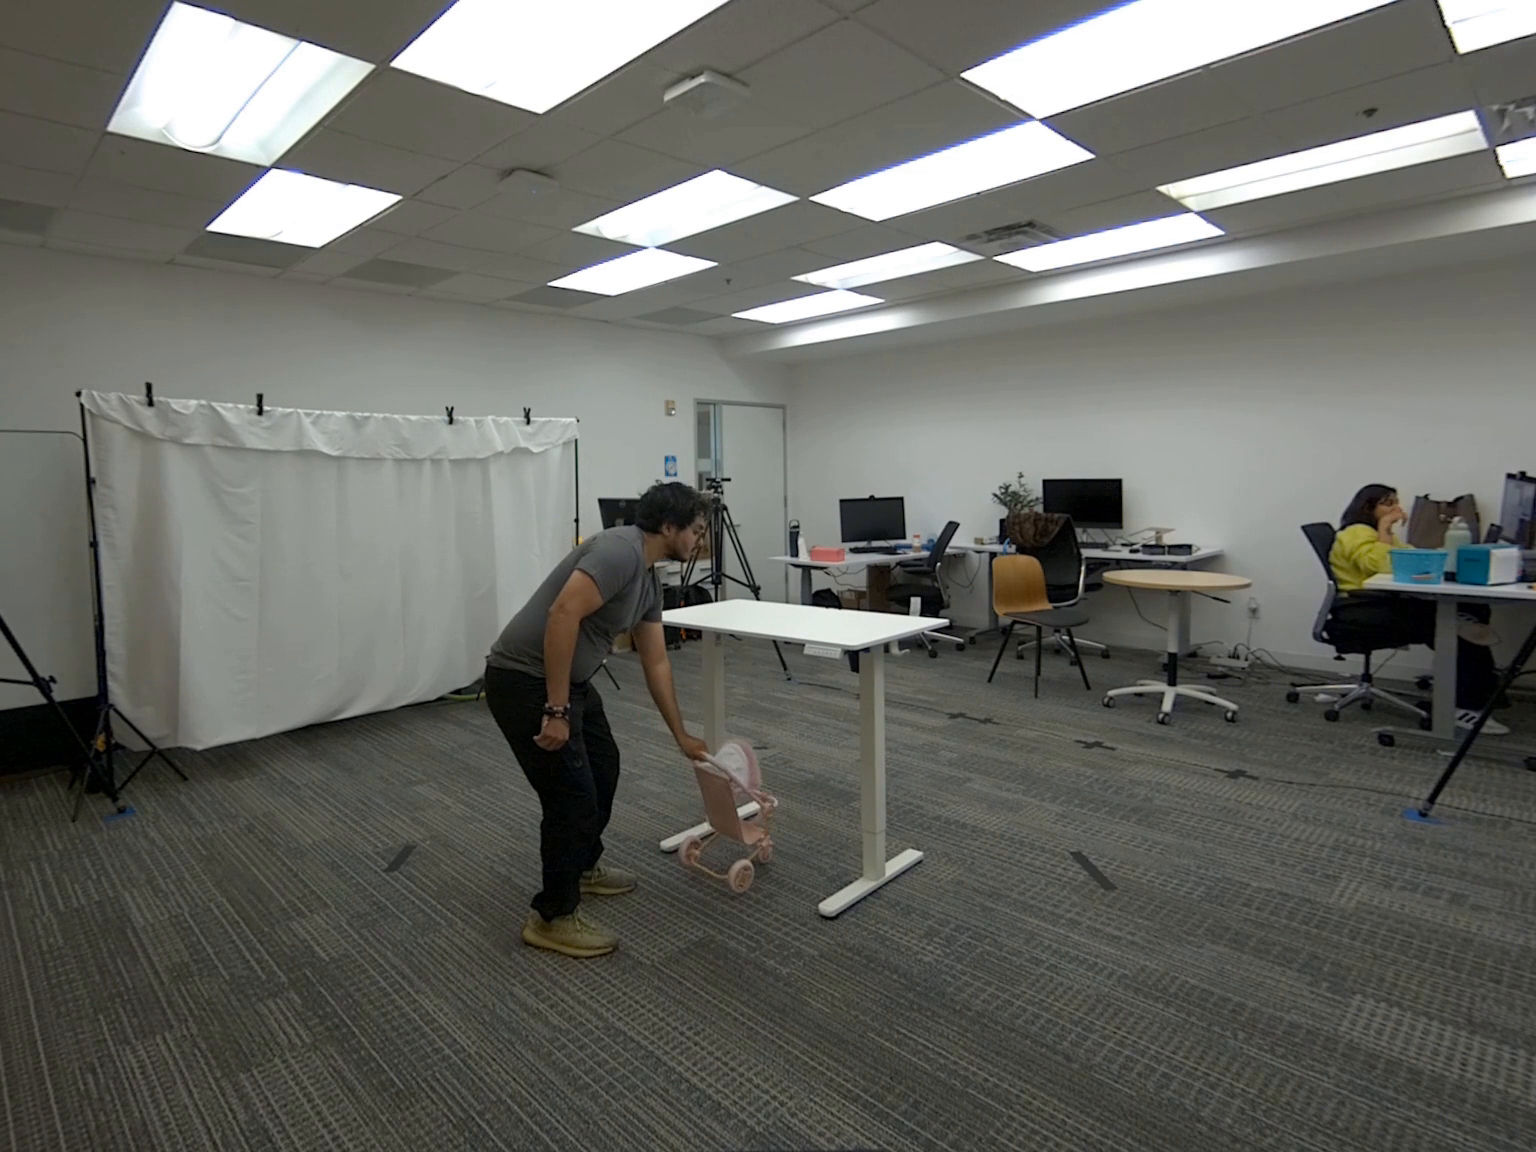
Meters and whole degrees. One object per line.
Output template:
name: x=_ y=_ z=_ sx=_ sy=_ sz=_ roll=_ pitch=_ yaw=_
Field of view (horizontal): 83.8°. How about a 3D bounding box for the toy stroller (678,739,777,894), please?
toy stroller: x=-0.113 y=0.812 z=2.978 sx=0.334 sy=0.529 sz=0.290 roll=-14 pitch=14 yaw=-40
